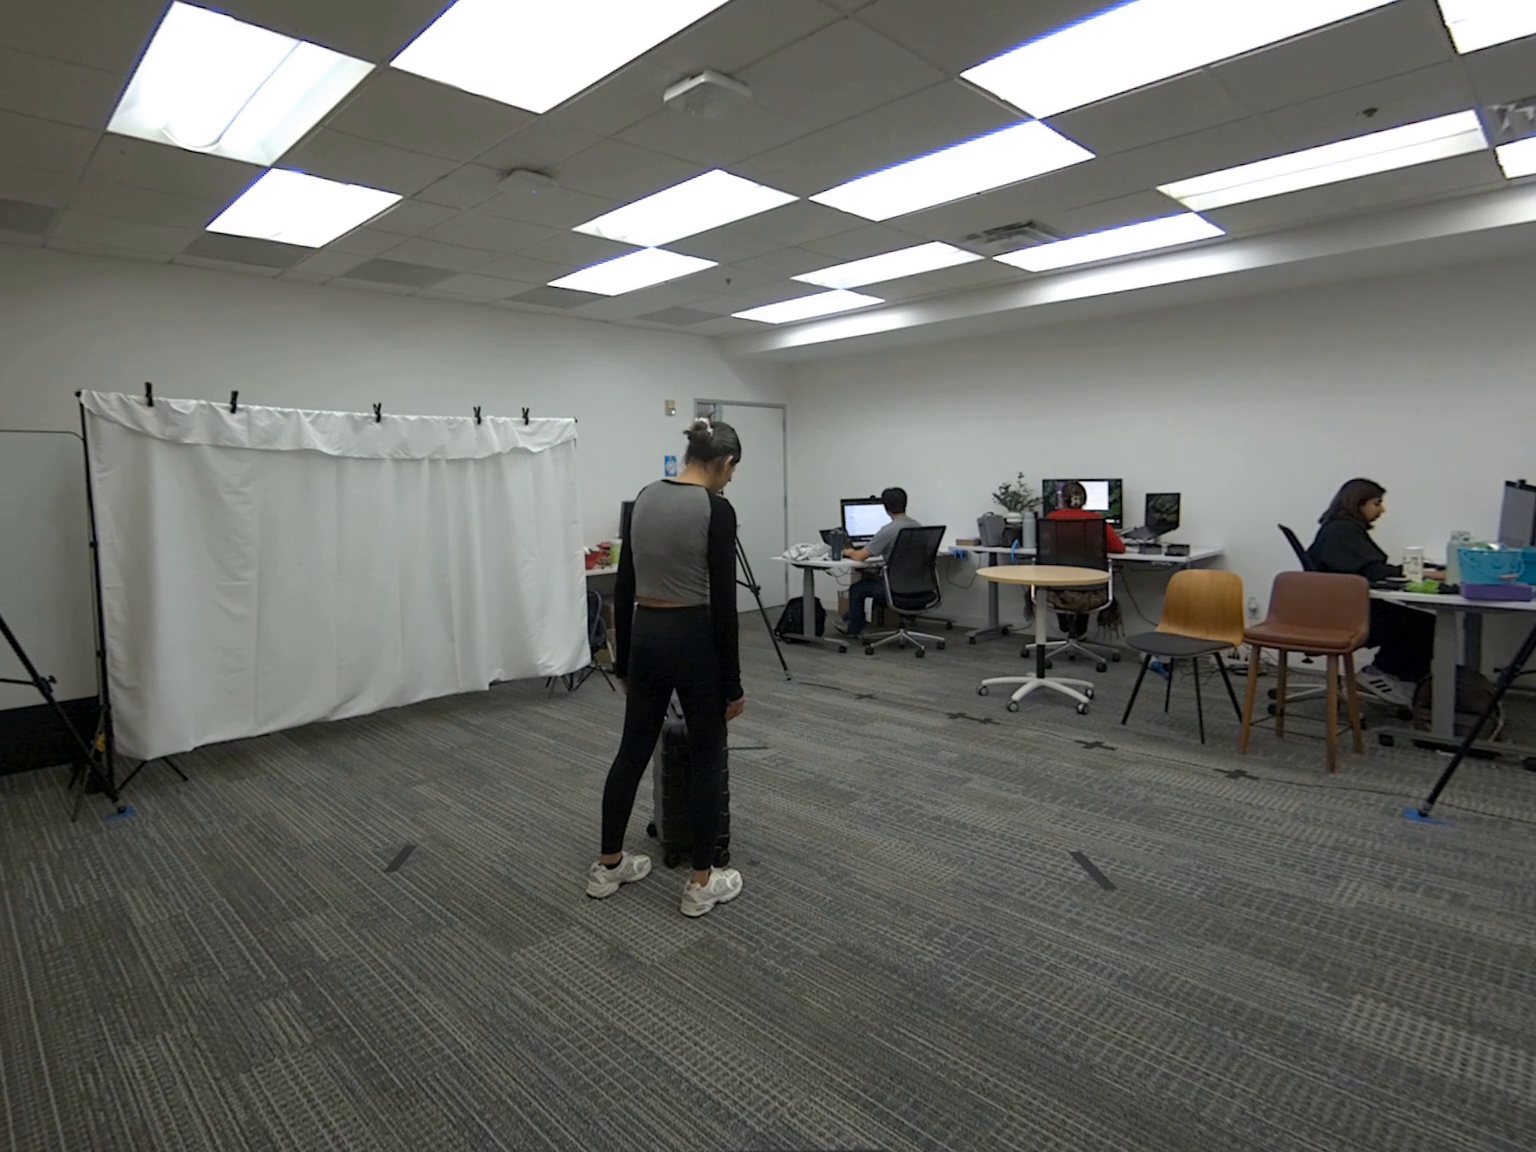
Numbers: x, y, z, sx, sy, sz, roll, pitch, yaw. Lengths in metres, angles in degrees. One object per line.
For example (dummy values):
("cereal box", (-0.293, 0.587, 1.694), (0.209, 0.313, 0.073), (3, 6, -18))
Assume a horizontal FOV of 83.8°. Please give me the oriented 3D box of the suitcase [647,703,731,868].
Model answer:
("suitcase", (-0.288, 0.757, 3.226), (0.246, 0.548, 0.380), (-1, 4, -11))
